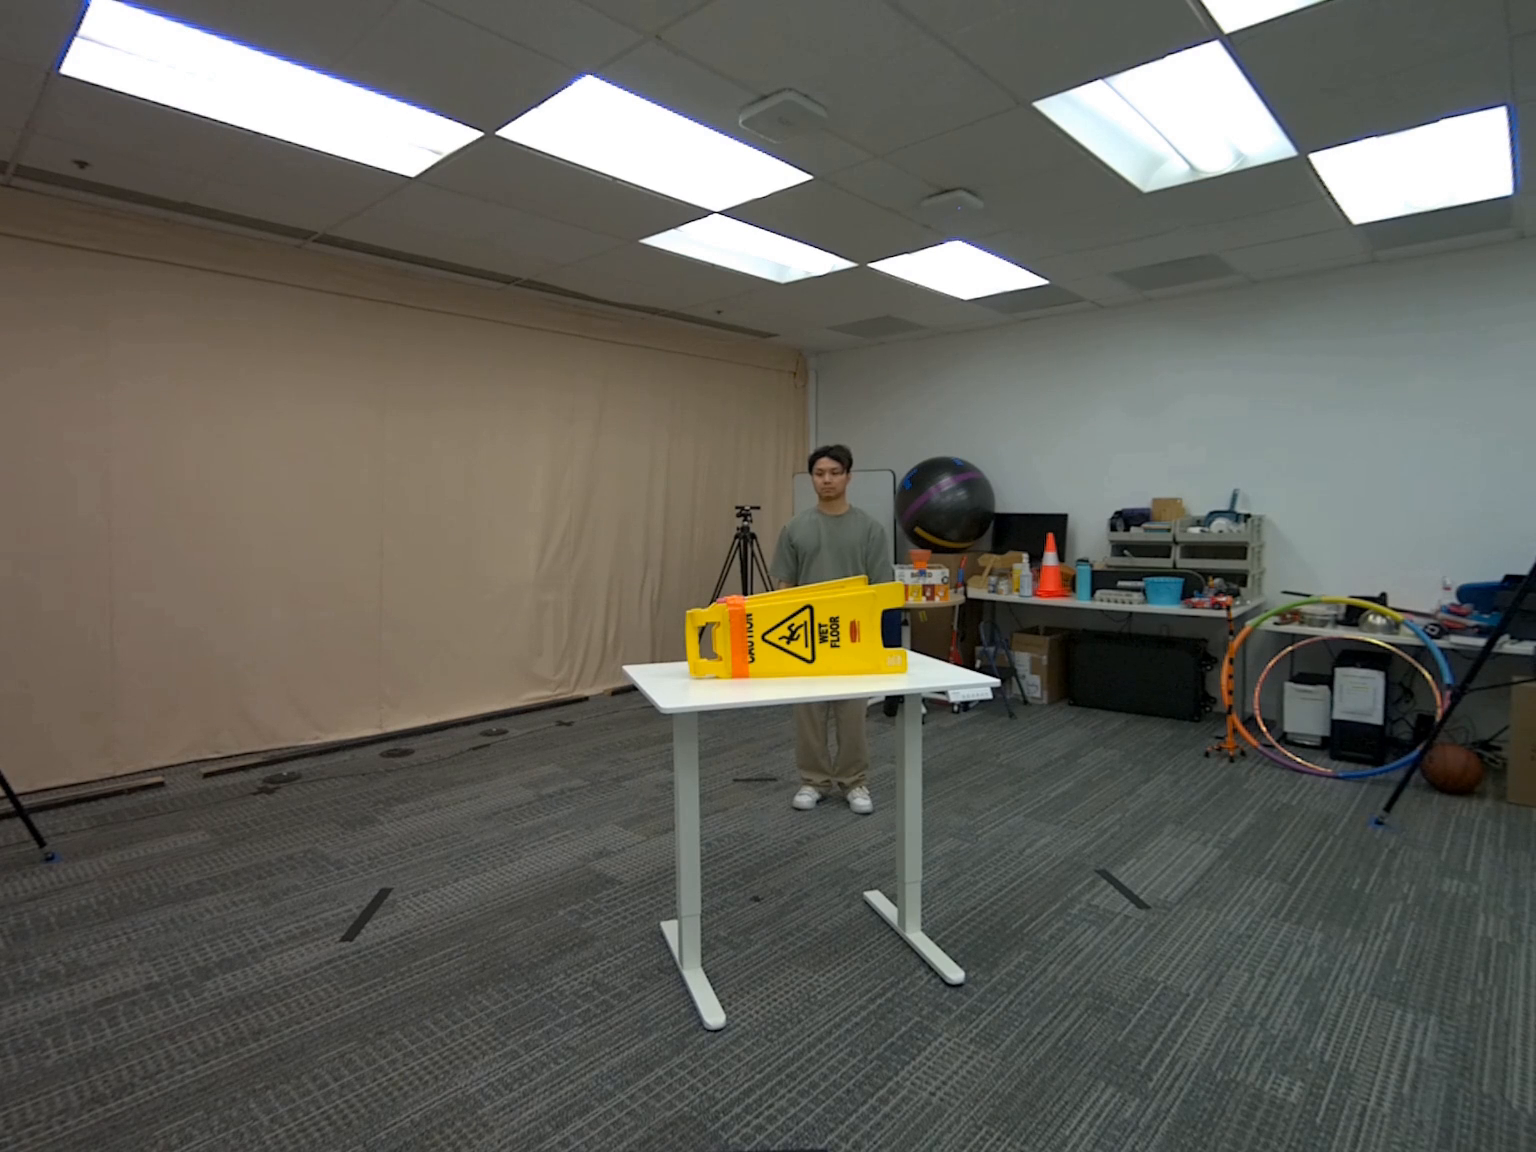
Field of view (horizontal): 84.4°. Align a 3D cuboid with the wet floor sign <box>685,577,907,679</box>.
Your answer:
[{"bbox_3d":[0.071,0.175,2.562,0.636,0.281,0.295,-5,4,-15],"label":"wet floor sign"}]
